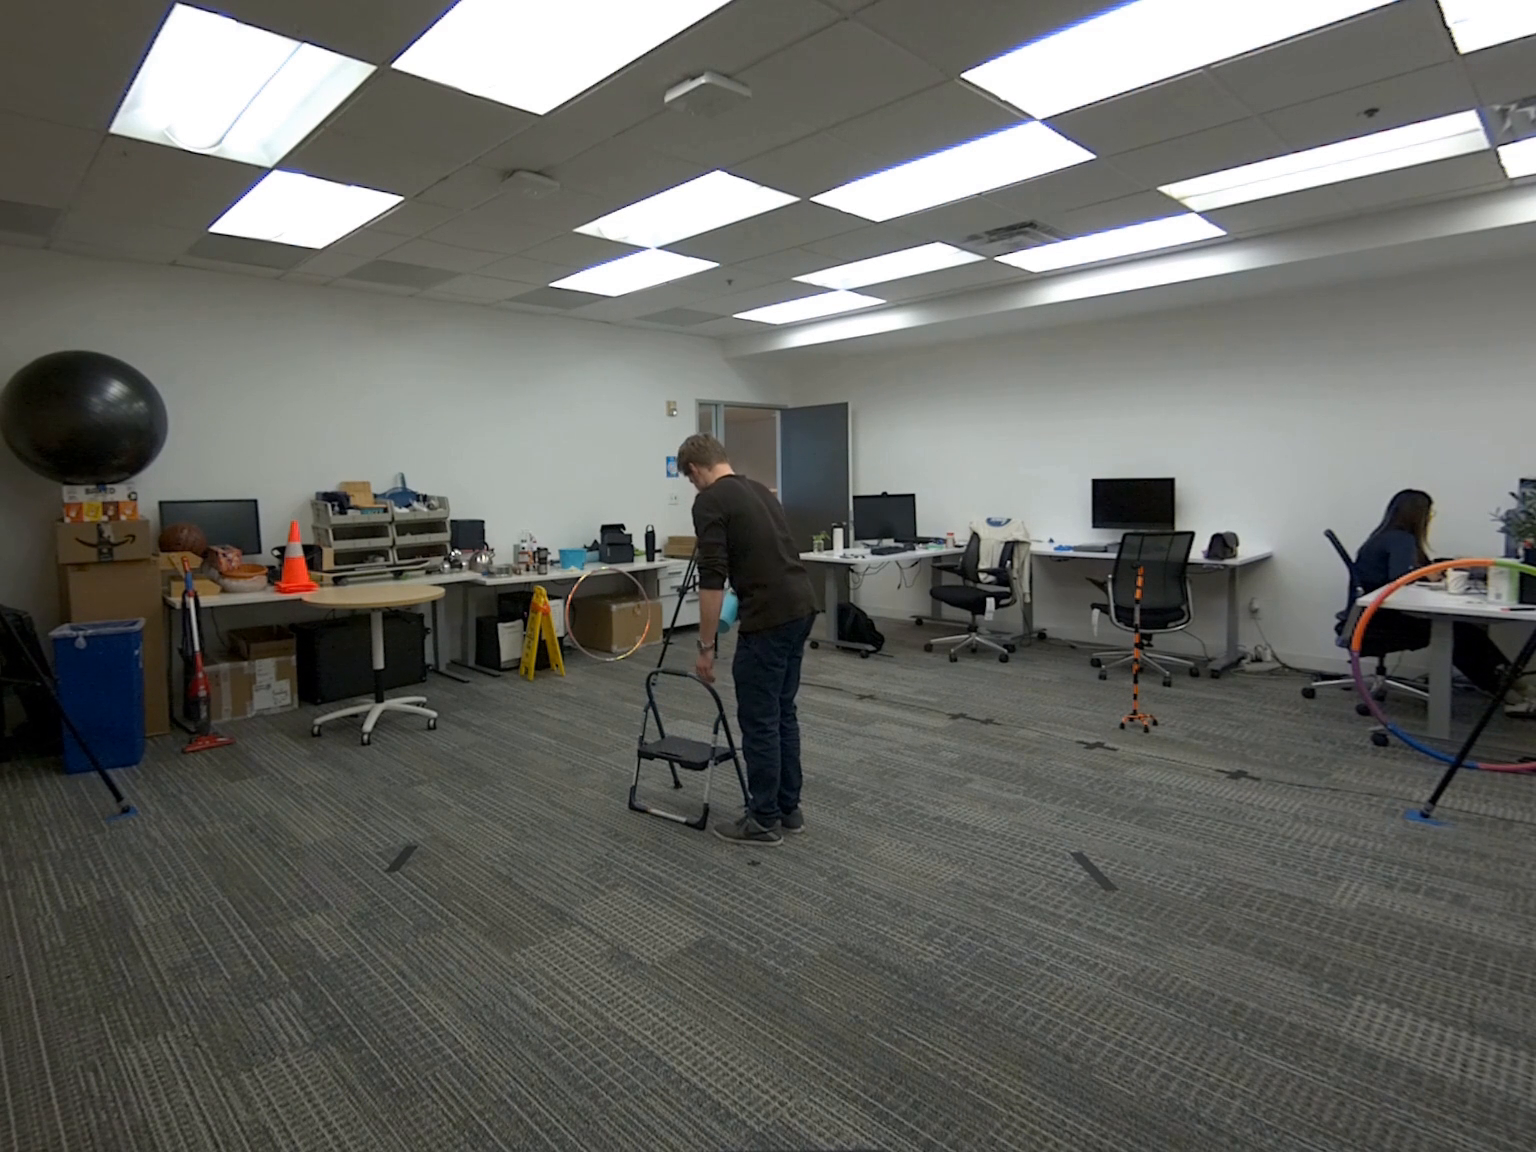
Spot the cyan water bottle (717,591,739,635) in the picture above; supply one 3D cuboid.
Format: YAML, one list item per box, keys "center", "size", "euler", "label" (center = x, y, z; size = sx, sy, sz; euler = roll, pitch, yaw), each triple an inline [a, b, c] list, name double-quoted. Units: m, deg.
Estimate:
- center: [-0.166, 0.139, 3.797]
  size: [0.094, 0.090, 0.287]
  euler: [0, 34, 16]
  label: "cyan water bottle"
